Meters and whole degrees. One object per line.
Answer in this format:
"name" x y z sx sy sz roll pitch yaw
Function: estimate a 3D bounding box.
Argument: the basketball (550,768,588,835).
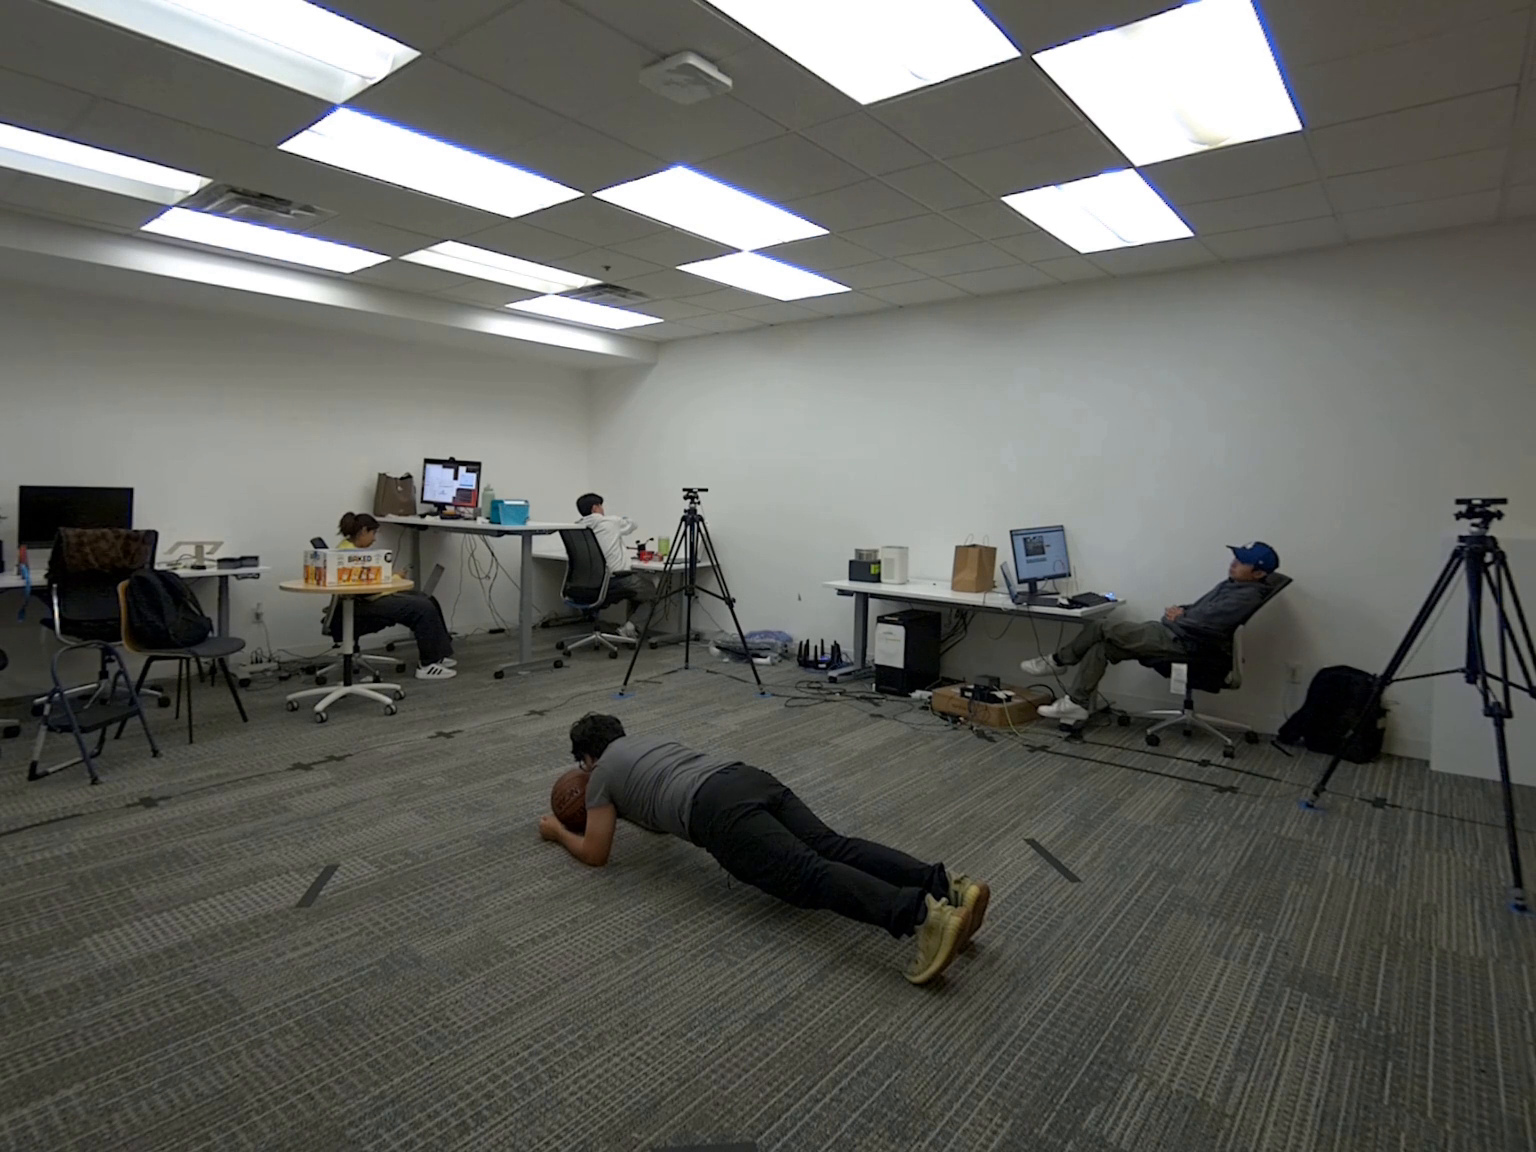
"basketball" -0.782 0.906 3.474 0.235 0.235 0.237 1 4 -2
